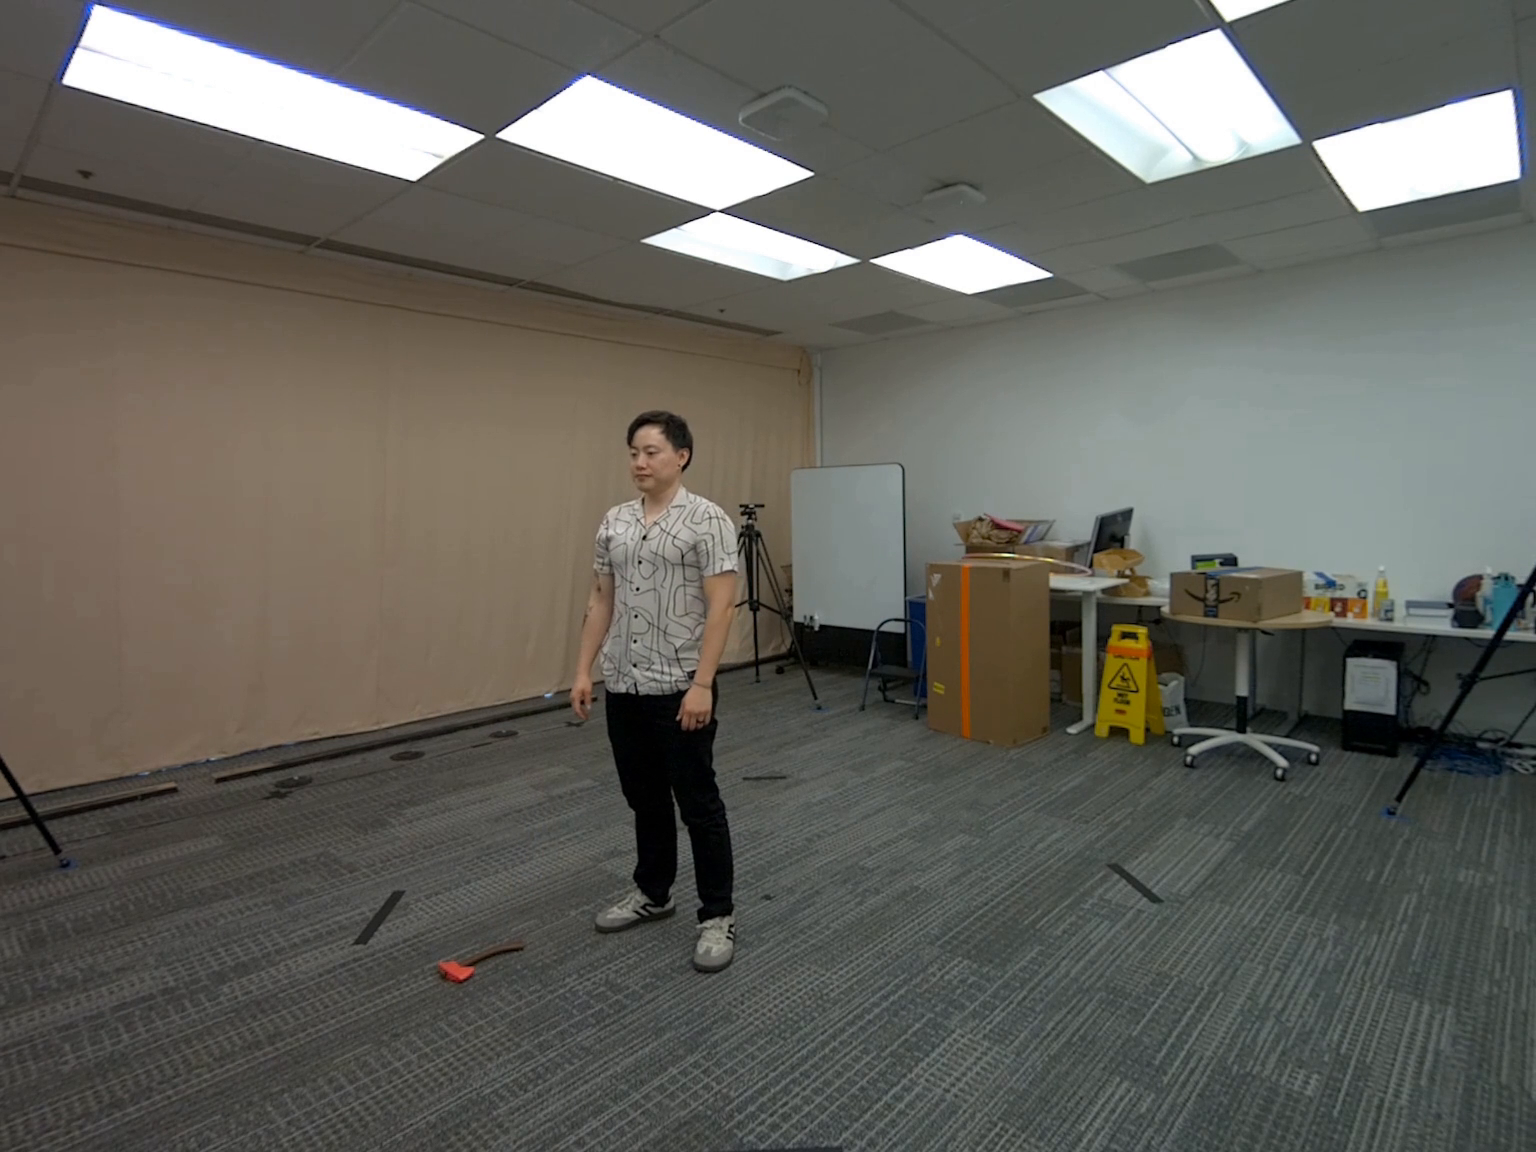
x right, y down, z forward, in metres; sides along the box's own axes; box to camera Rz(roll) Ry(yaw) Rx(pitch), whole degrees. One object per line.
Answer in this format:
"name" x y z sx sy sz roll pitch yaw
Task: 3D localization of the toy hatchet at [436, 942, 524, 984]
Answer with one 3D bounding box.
"toy hatchet" -0.871 1.185 2.572 0.262 0.029 0.135 -2 3 -32
